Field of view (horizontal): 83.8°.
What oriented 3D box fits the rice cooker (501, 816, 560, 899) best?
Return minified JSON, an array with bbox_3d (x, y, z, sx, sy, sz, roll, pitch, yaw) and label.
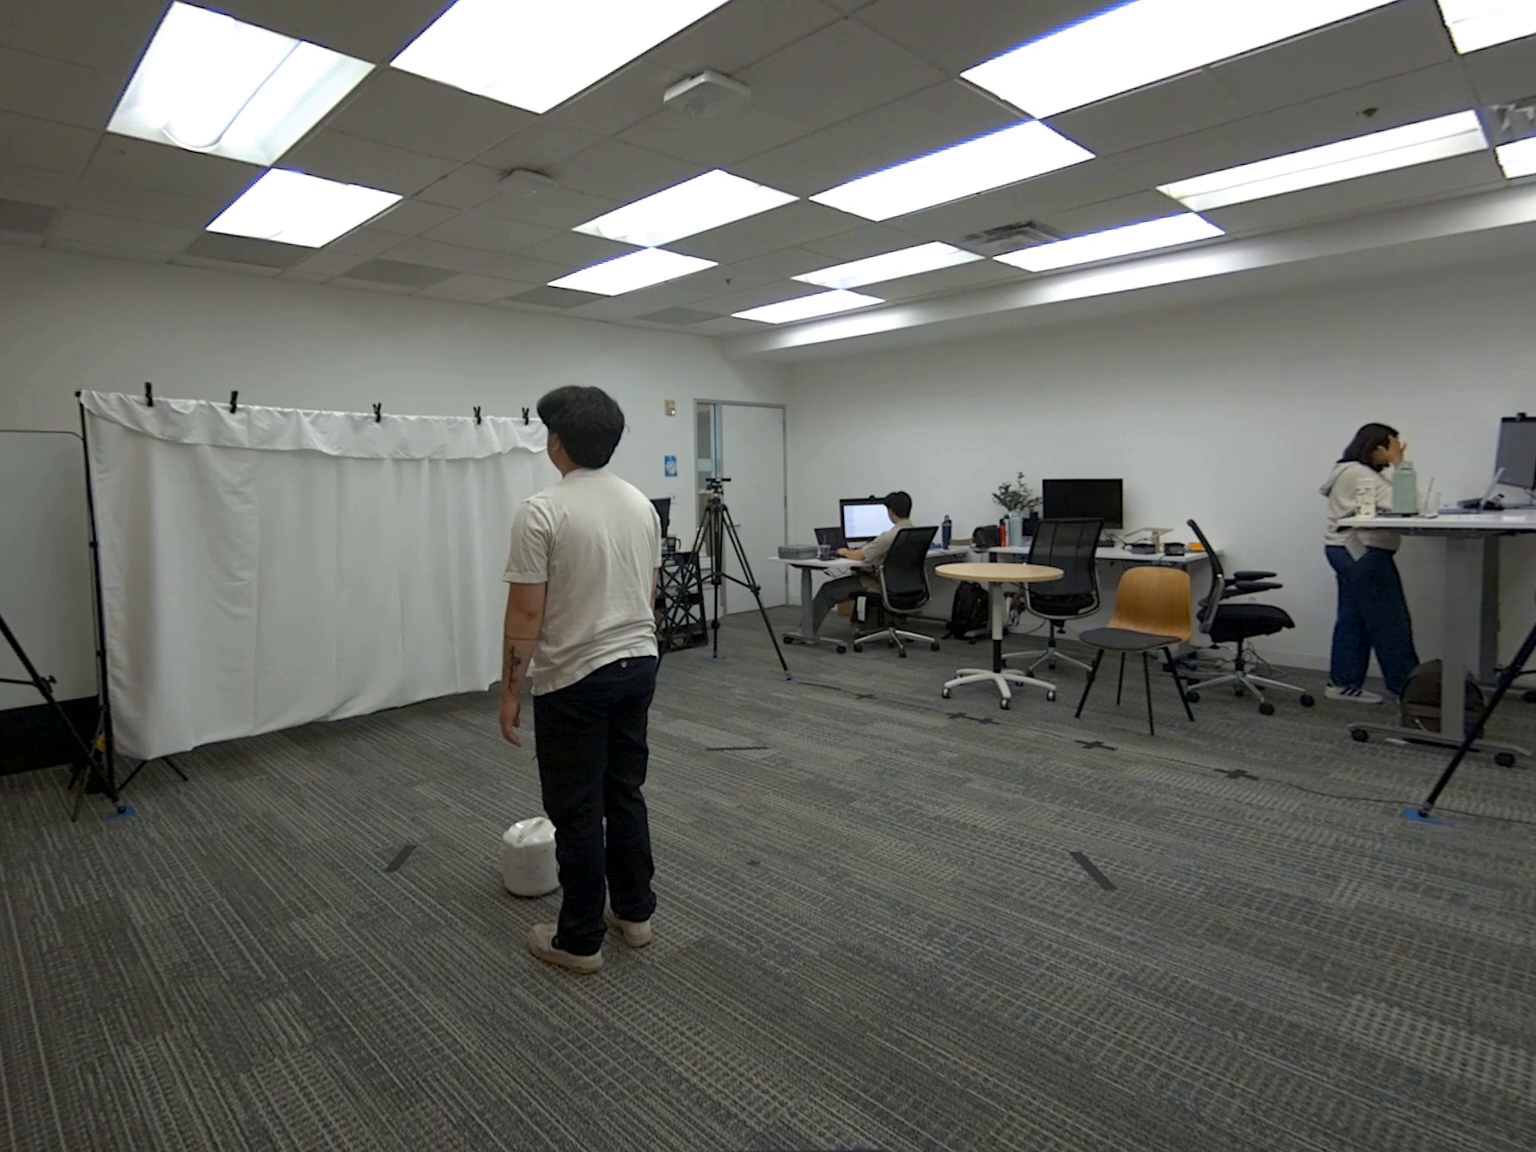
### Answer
[{"bbox_3d":[-0.805,0.956,2.959,0.221,0.232,0.218,-1,5,15],"label":"rice cooker"}]
